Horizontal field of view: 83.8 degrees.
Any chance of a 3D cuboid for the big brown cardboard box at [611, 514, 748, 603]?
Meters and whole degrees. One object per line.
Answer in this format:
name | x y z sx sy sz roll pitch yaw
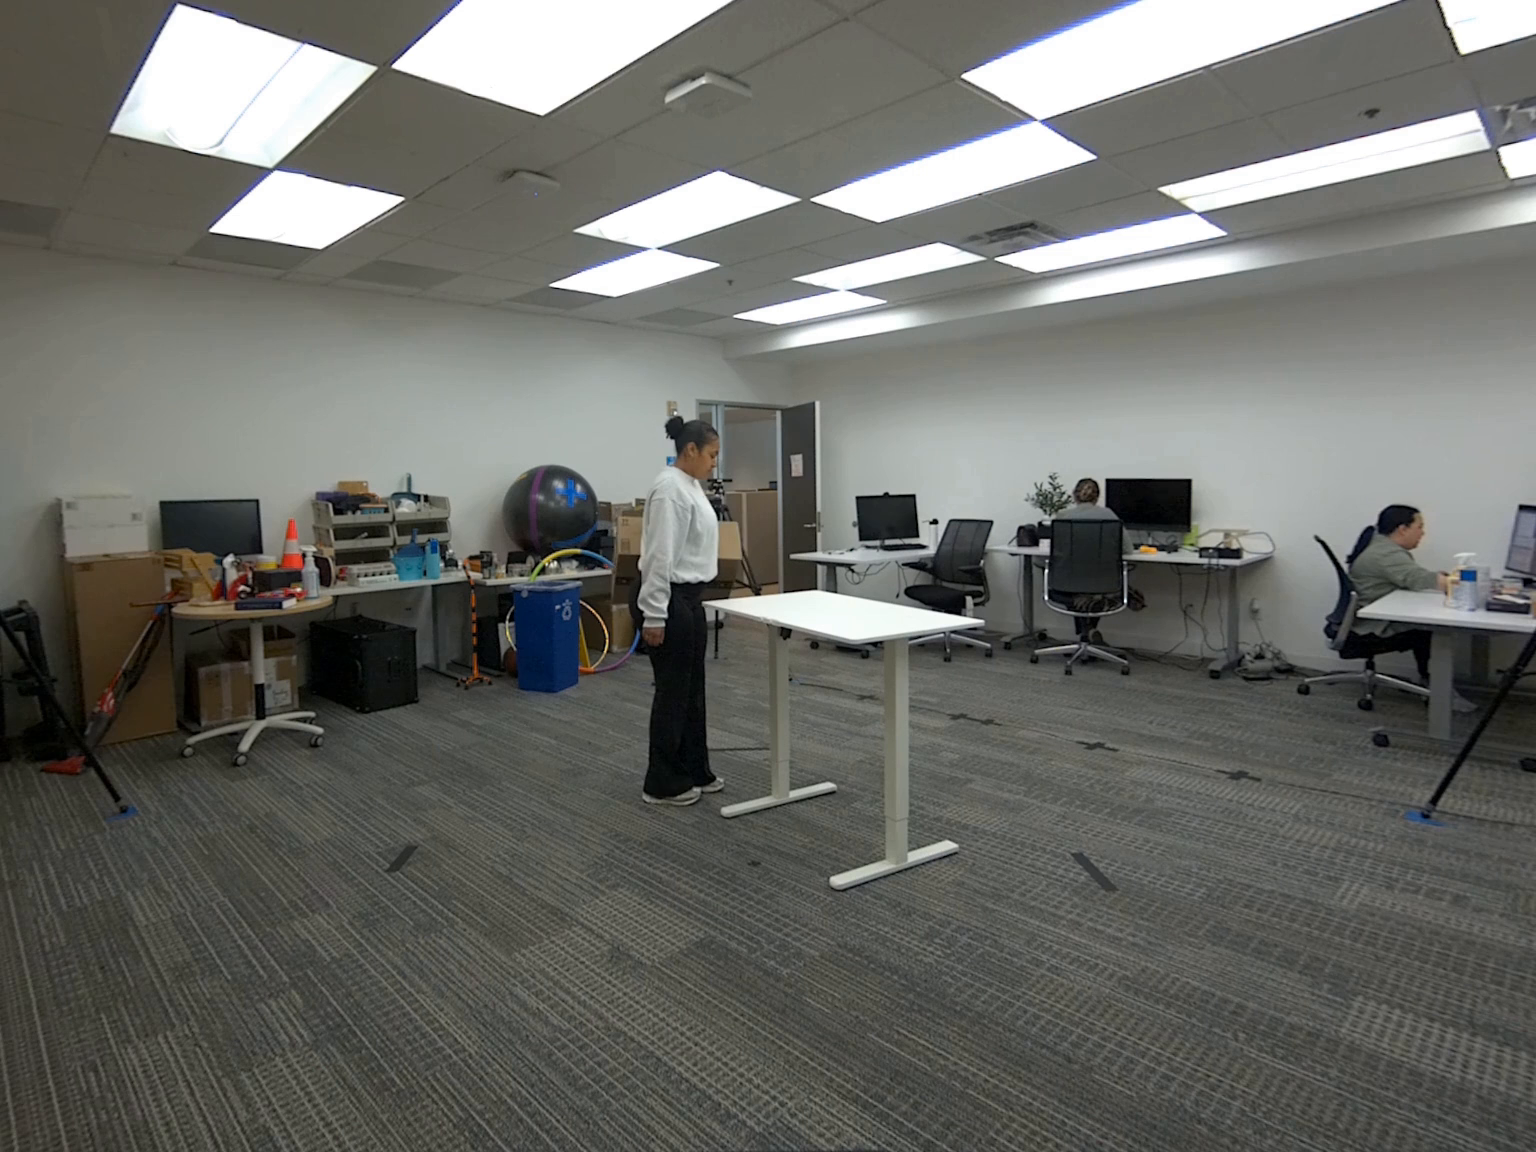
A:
big brown cardboard box | -0.437 -0.064 4.063 0.582 0.240 0.410 1 -36 -12
